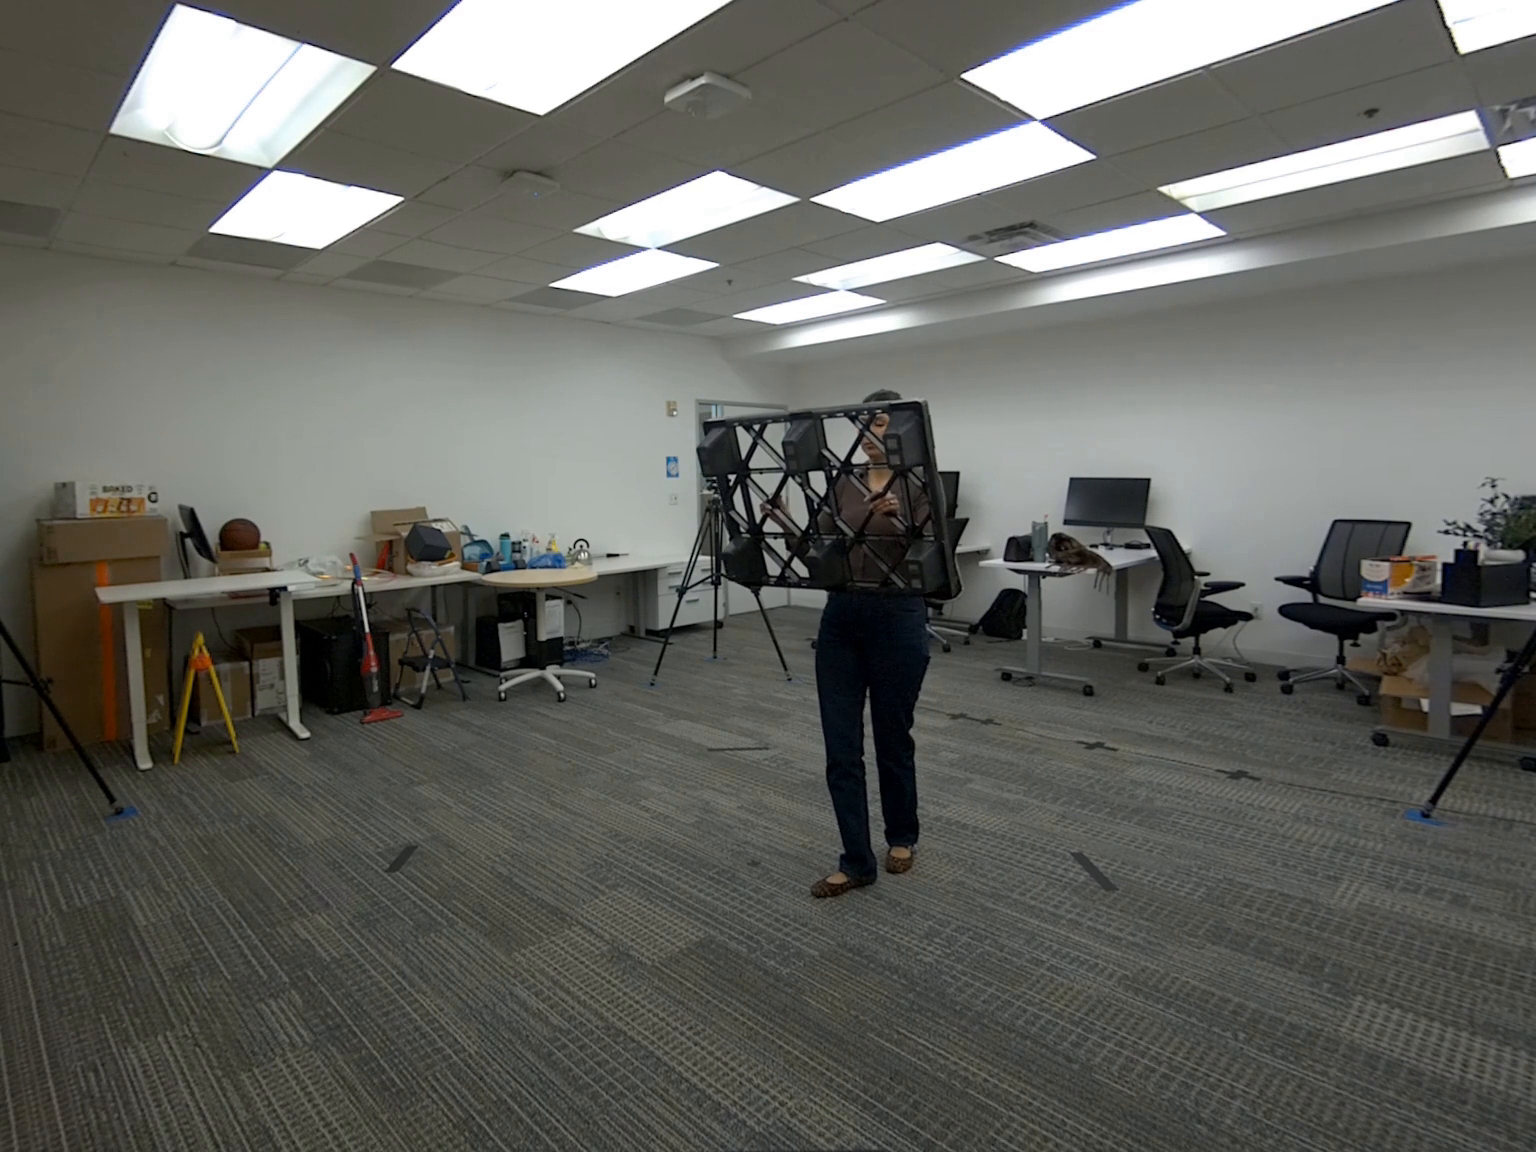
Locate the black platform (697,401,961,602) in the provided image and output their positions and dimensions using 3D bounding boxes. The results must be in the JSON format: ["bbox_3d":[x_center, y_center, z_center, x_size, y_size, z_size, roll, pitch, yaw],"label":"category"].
[{"bbox_3d":[0.146,-0.216,2.648,0.829,0.594,0.142,3,23,39],"label":"black platform"}]
